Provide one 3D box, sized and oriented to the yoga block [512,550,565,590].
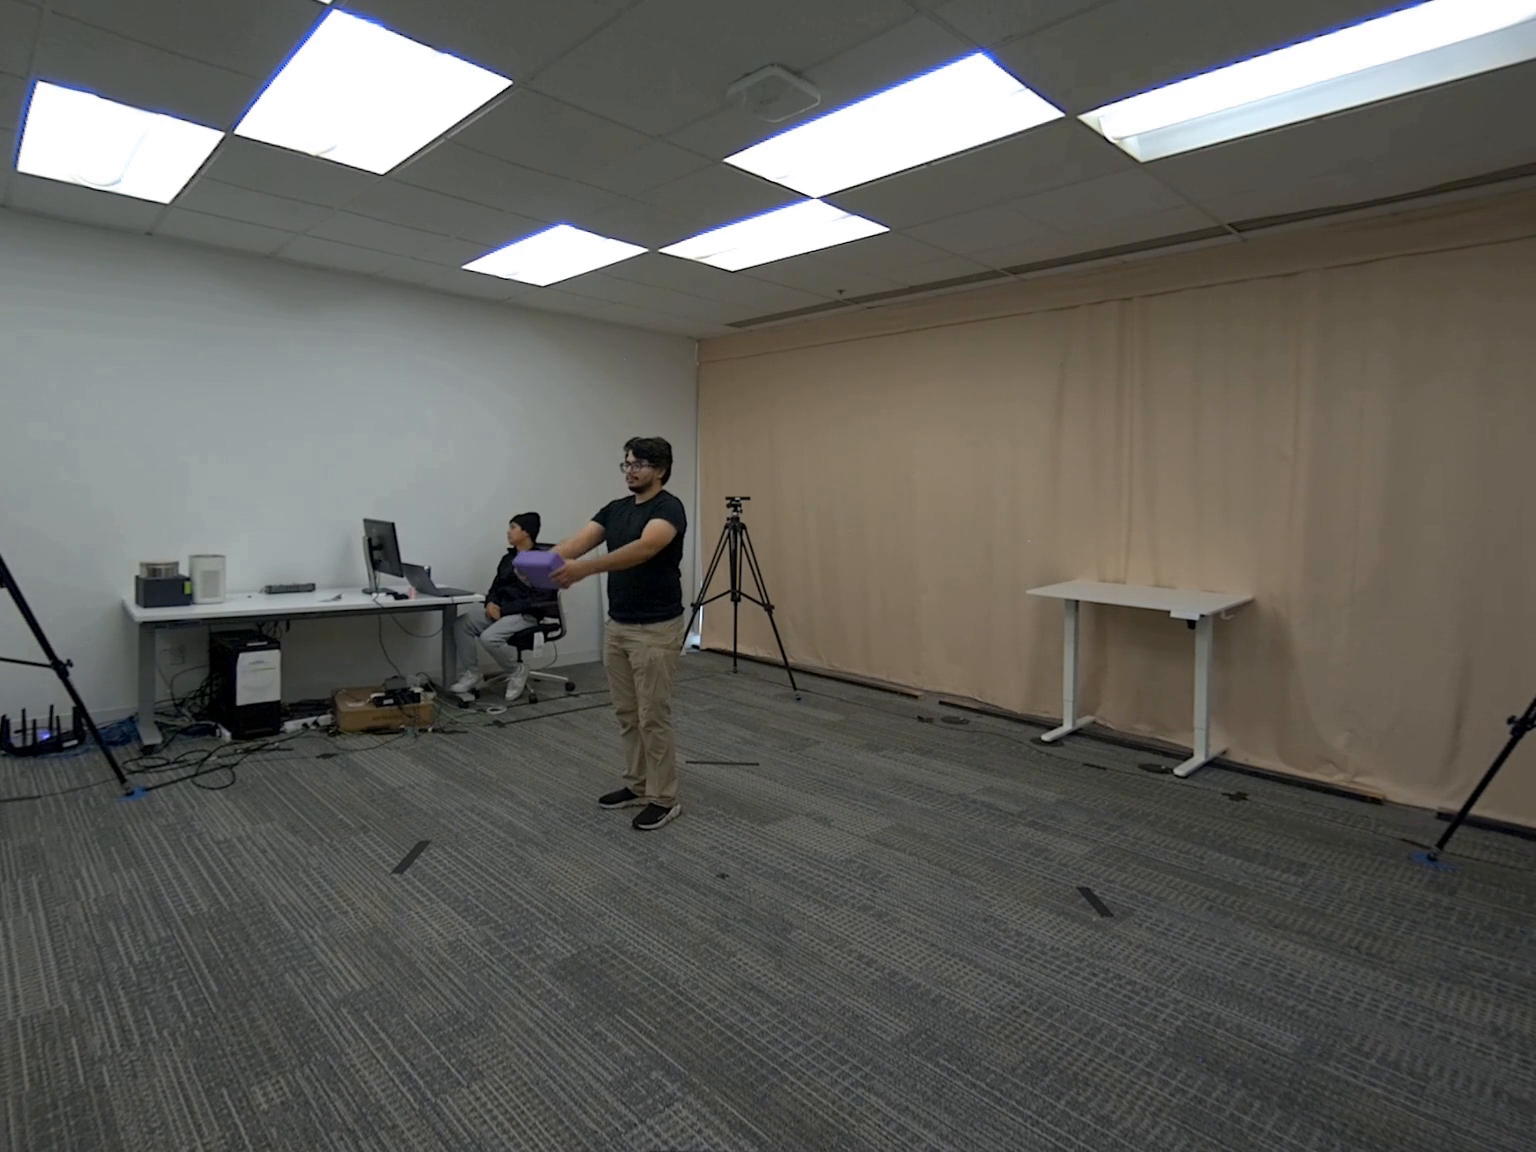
[{"bbox_3d":[-0.889,-0.035,3.338,0.235,0.077,0.144,2,-38,41],"label":"yoga block"}]
